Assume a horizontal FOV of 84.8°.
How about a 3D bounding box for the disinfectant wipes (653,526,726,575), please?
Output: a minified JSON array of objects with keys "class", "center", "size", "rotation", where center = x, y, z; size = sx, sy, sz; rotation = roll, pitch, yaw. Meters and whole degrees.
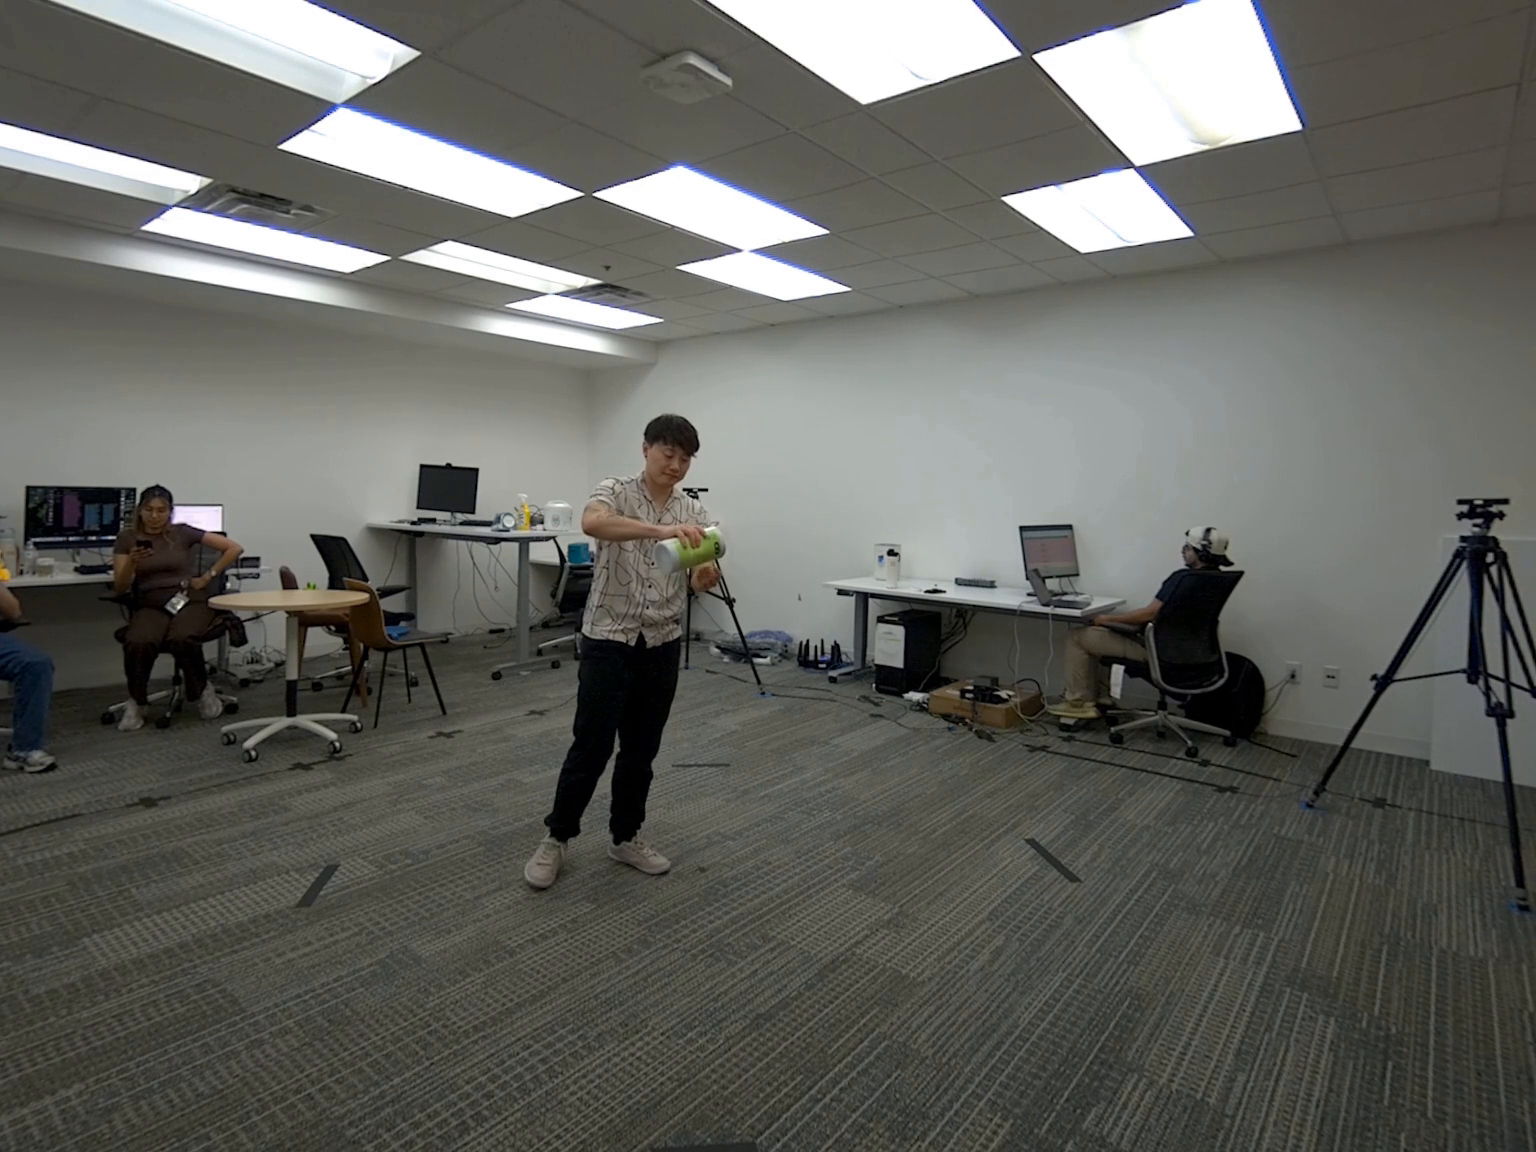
[{"class":"disinfectant wipes","center":[-0.258,-0.086,2.741],"size":[0.212,0.116,0.122],"rotation":[-16,13,-37]}]
